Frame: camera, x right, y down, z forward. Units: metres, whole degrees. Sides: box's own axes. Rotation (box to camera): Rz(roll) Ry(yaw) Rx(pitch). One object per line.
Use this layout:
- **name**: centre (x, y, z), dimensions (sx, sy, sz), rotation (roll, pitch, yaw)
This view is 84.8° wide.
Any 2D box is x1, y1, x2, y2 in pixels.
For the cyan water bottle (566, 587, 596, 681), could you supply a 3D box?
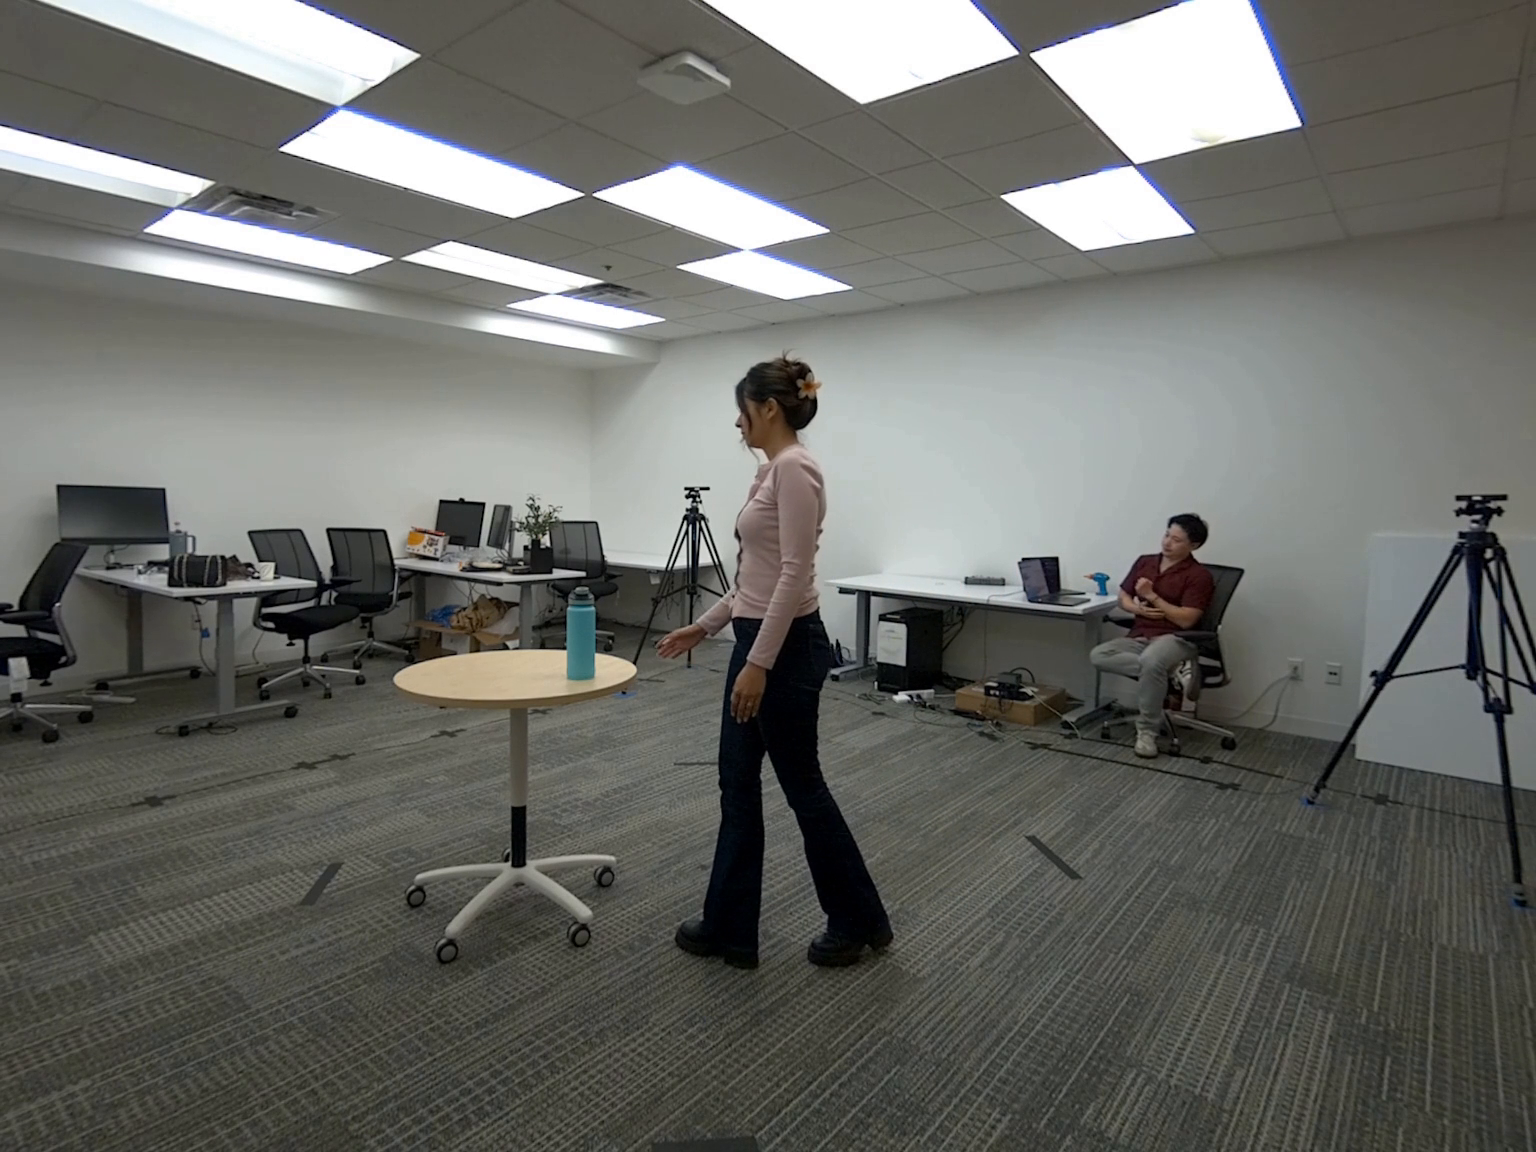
- **cyan water bottle**: centre (-0.615, 0.181, 2.674), dimensions (0.092, 0.282, 0.093), rotation (-1, 4, -2)
